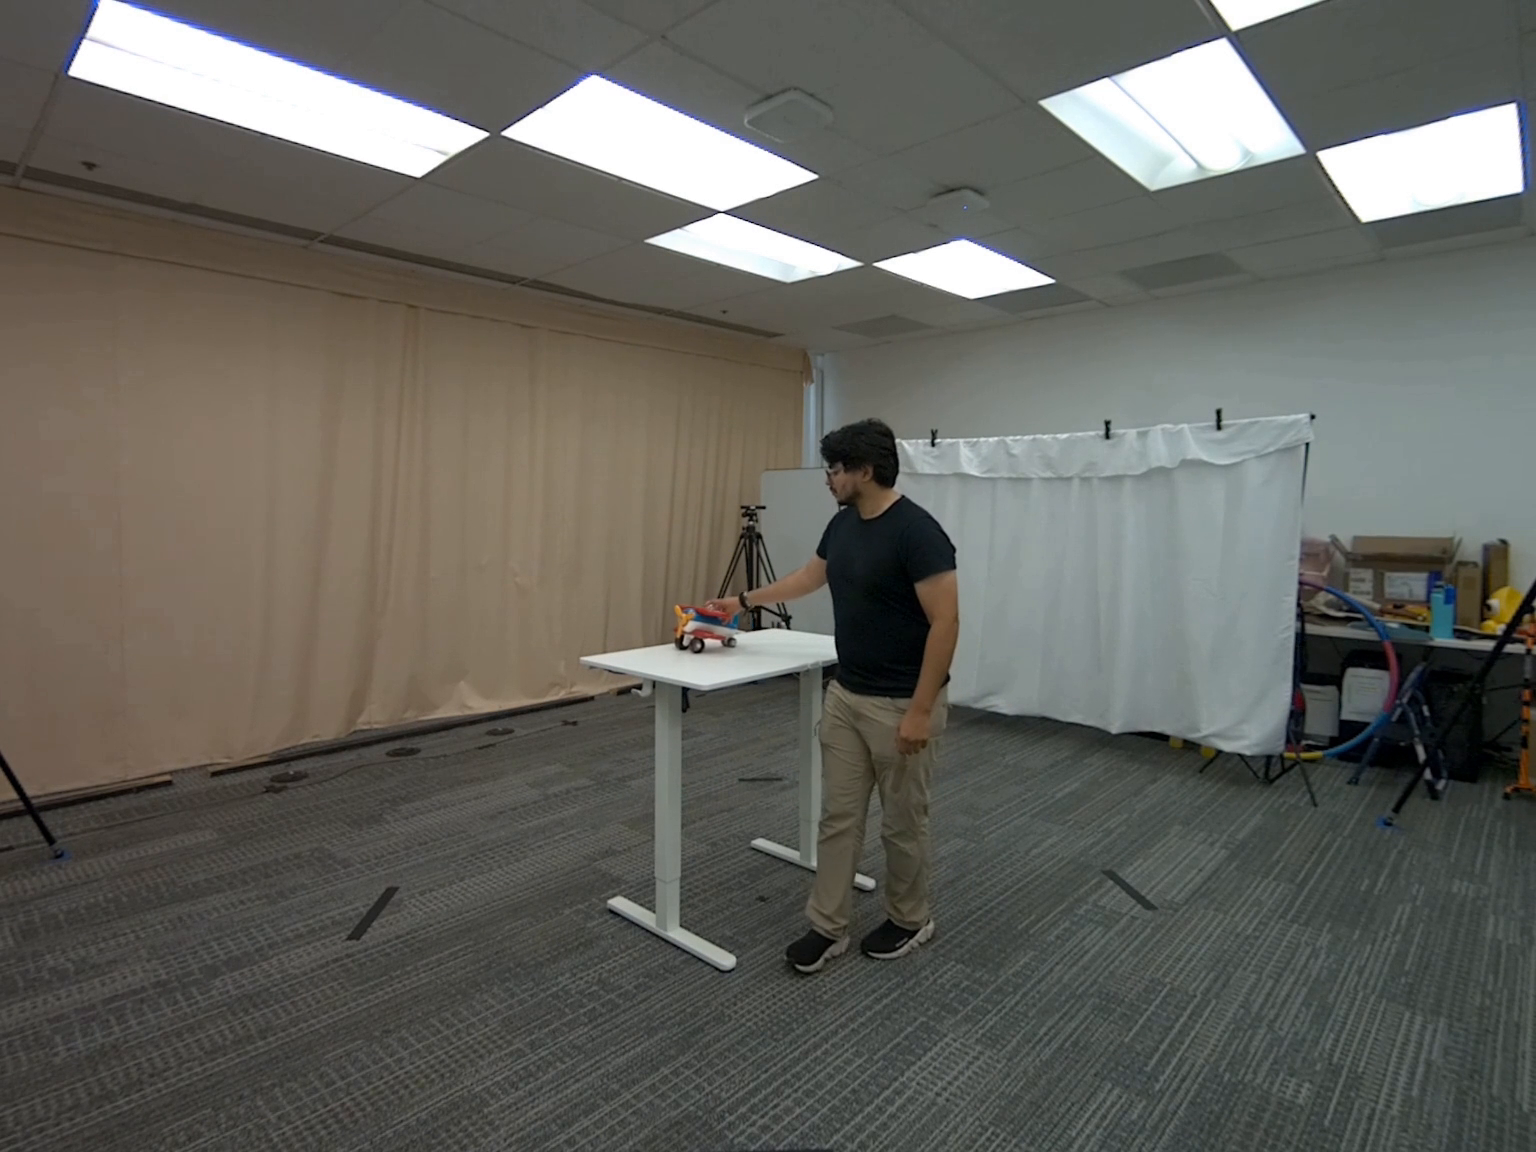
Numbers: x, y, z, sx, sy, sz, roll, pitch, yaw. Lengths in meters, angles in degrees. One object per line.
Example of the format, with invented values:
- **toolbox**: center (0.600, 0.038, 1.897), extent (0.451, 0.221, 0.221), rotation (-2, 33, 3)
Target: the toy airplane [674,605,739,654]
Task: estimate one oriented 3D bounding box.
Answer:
- **toy airplane**: center (-0.225, 0.184, 2.993), extent (0.257, 0.156, 0.254), rotation (3, 6, 22)
